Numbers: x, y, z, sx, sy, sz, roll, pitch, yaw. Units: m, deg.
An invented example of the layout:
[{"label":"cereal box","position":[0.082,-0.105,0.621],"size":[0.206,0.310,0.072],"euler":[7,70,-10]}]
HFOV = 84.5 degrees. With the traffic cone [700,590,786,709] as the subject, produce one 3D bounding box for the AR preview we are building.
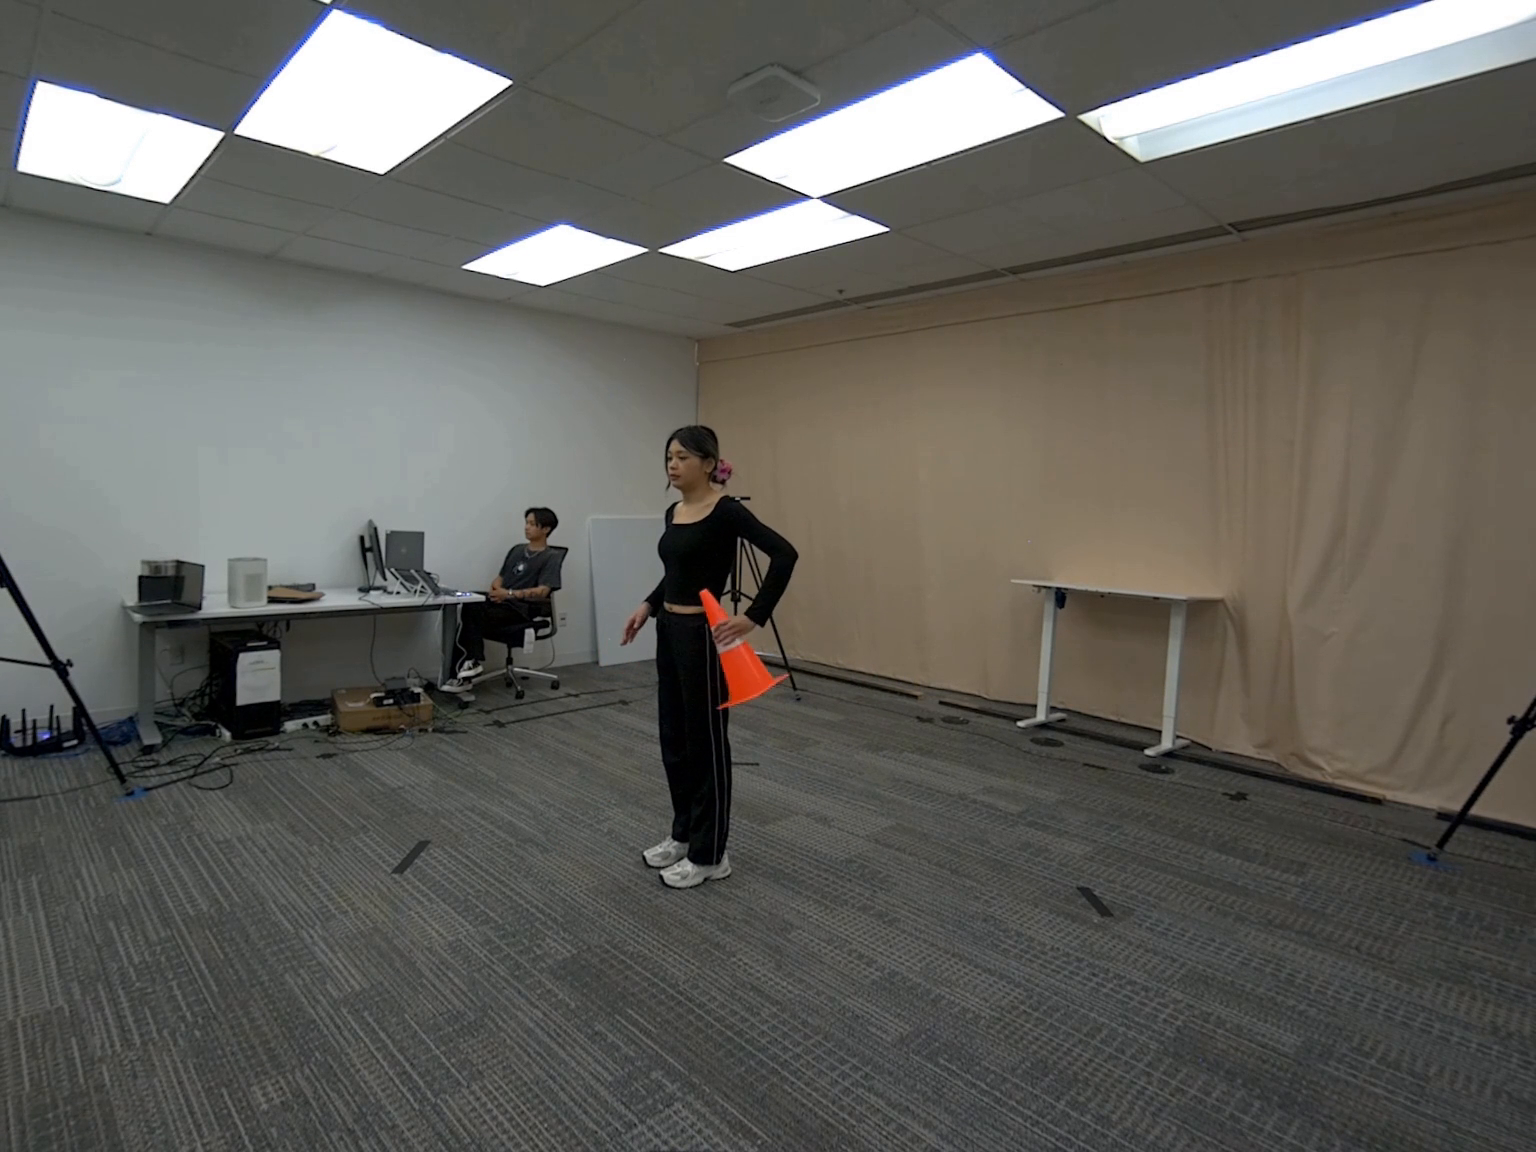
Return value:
[{"label":"traffic cone","position":[-0.144,0.218,2.844],"size":[0.207,0.385,0.200],"euler":[-28,-4,36]}]
